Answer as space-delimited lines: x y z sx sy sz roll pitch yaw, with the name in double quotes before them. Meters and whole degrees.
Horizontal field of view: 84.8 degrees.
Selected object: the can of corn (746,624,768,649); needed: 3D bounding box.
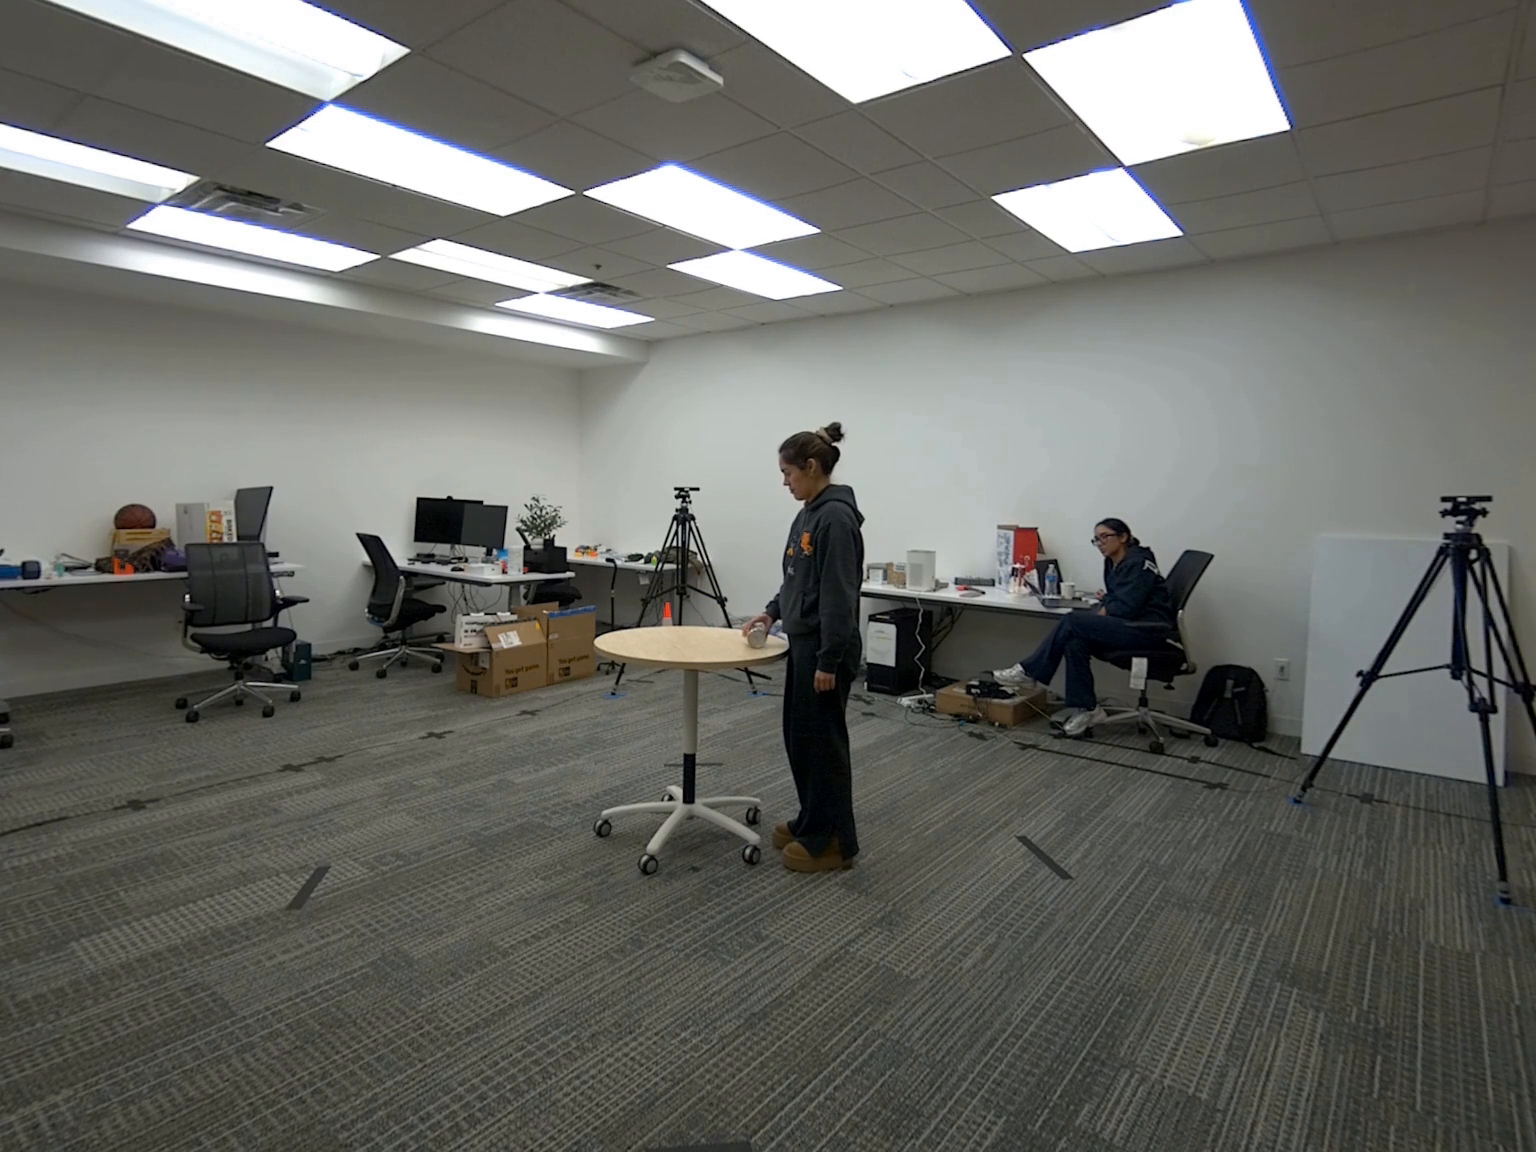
"can of corn" -0.057 0.232 3.321 0.073 0.074 0.112 0 5 -10
